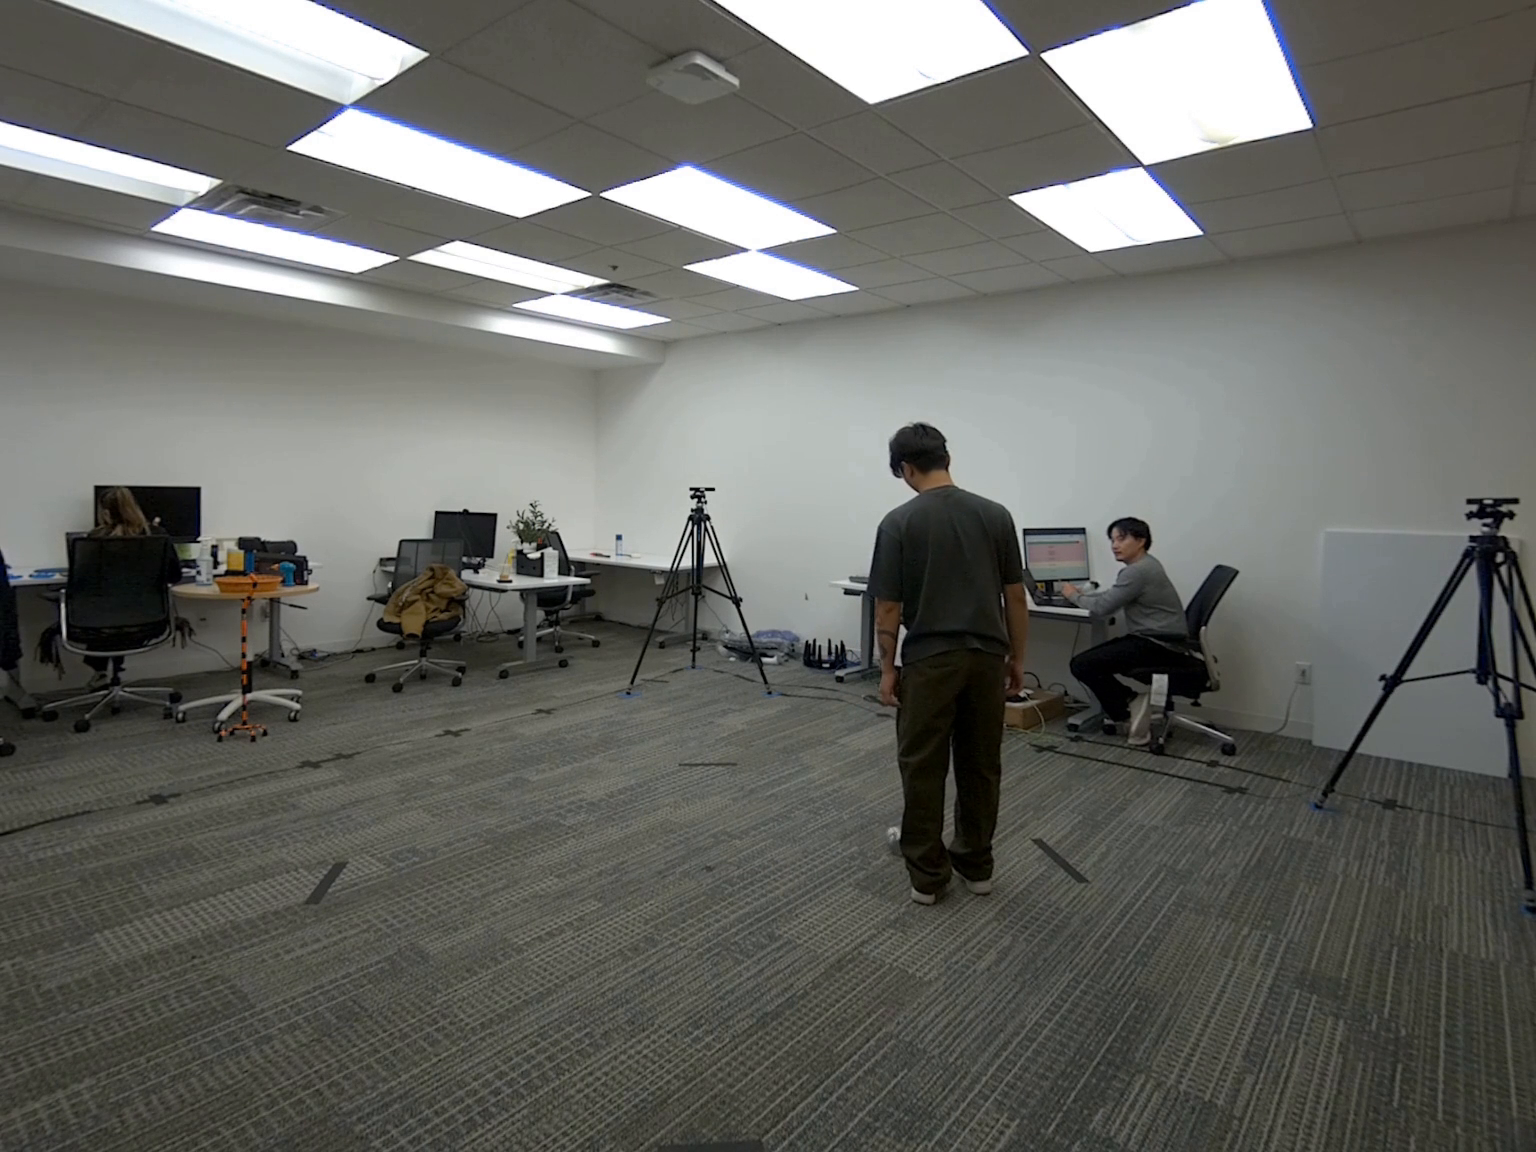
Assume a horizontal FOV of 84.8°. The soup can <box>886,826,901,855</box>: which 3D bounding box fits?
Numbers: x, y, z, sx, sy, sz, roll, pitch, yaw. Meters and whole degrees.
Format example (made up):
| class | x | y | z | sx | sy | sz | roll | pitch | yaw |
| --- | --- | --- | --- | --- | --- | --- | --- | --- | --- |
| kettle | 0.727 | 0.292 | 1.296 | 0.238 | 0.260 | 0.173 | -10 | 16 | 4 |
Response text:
| class | x | y | z | sx | sy | sz | roll | pitch | yaw |
| --- | --- | --- | --- | --- | --- | --- | --- | --- | --- |
| soup can | 0.502 | 1.024 | 3.312 | 0.067 | 0.067 | 0.122 | 1 | 7 | -4 |
